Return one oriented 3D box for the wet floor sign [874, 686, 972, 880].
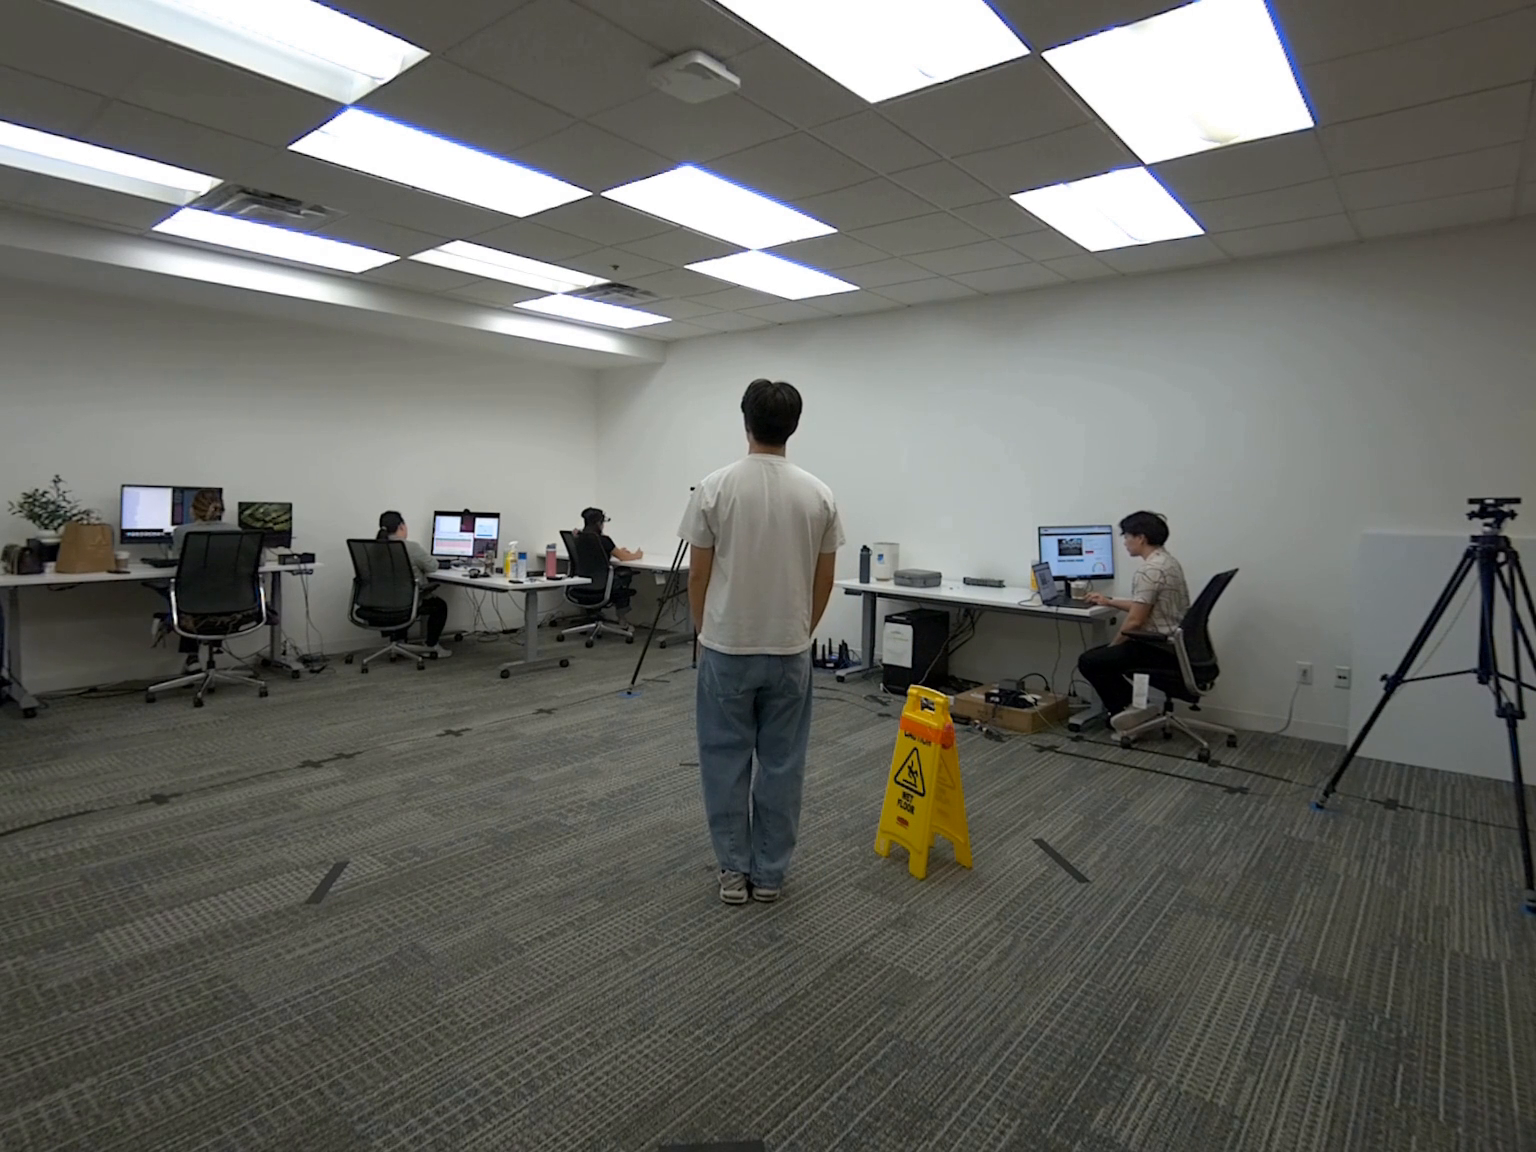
[{"bbox_3d":[0.589,0.745,3.217,0.282,0.644,0.291,0,3,-29],"label":"wet floor sign"}]
